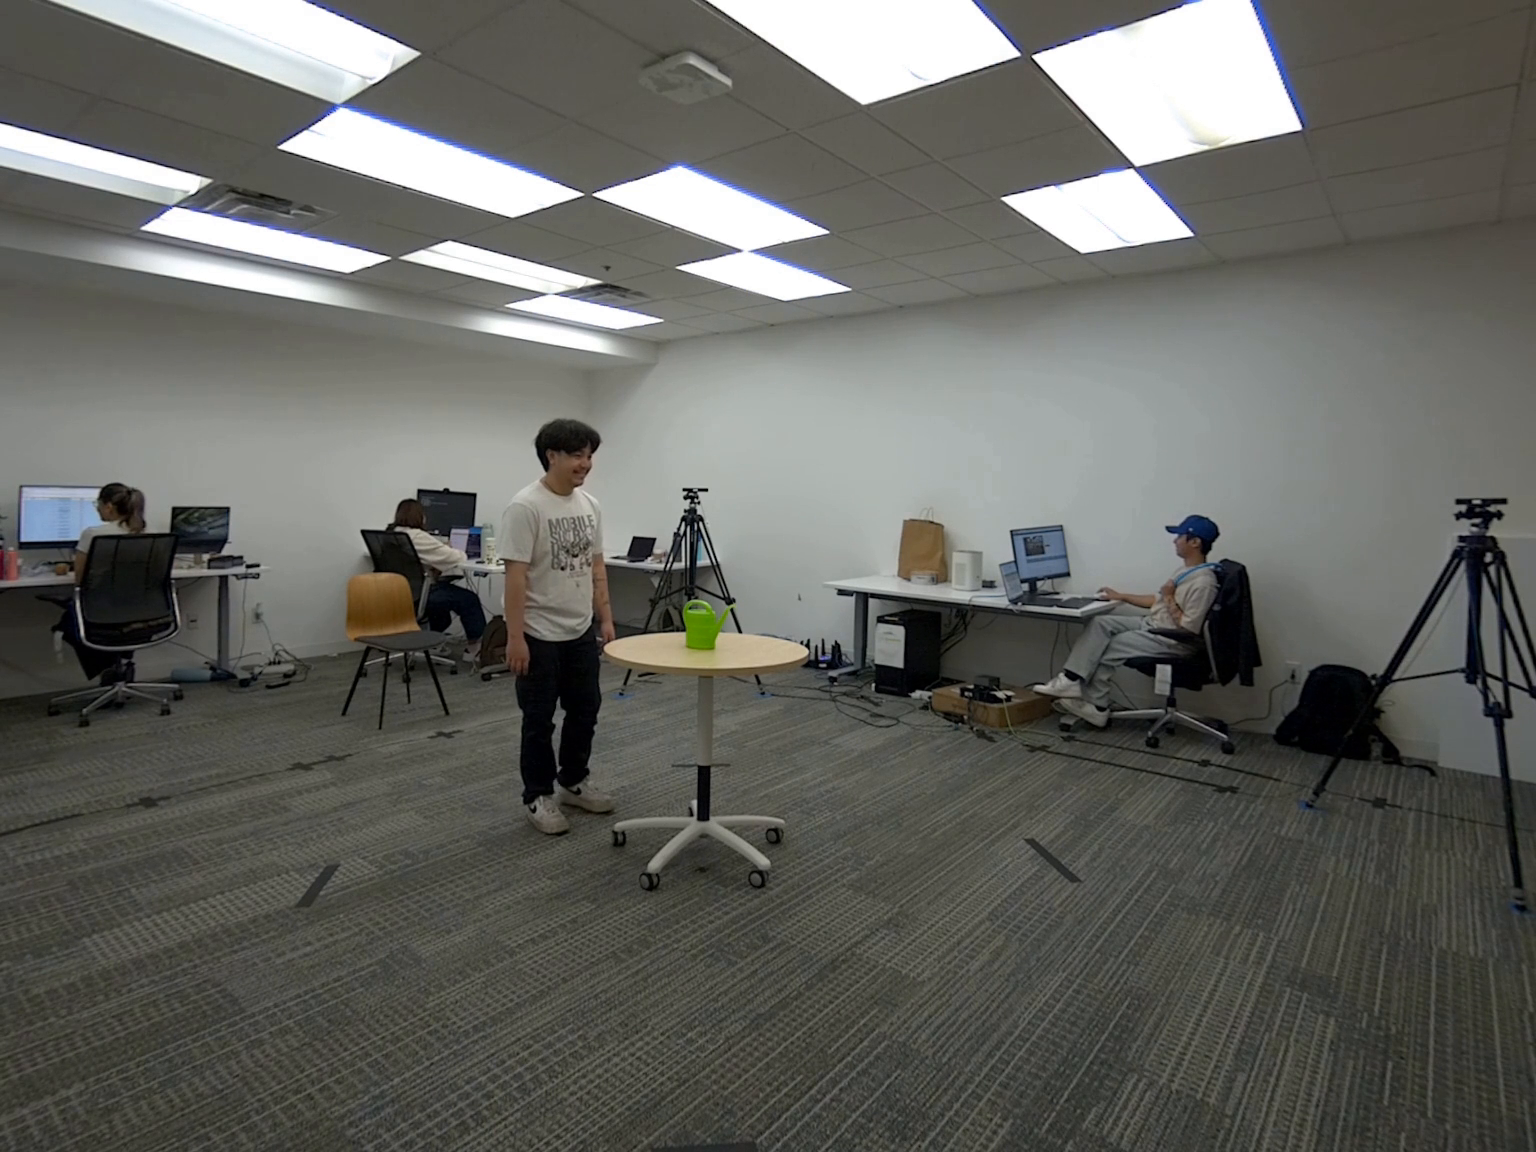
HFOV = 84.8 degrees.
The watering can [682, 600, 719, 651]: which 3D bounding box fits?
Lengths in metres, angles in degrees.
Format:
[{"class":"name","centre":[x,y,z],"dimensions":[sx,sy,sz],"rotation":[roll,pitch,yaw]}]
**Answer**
[{"class":"watering can","centre":[-0.241,0.181,3.184],"dimensions":[0.095,0.176,0.287],"rotation":[-3,4,-35]}]
